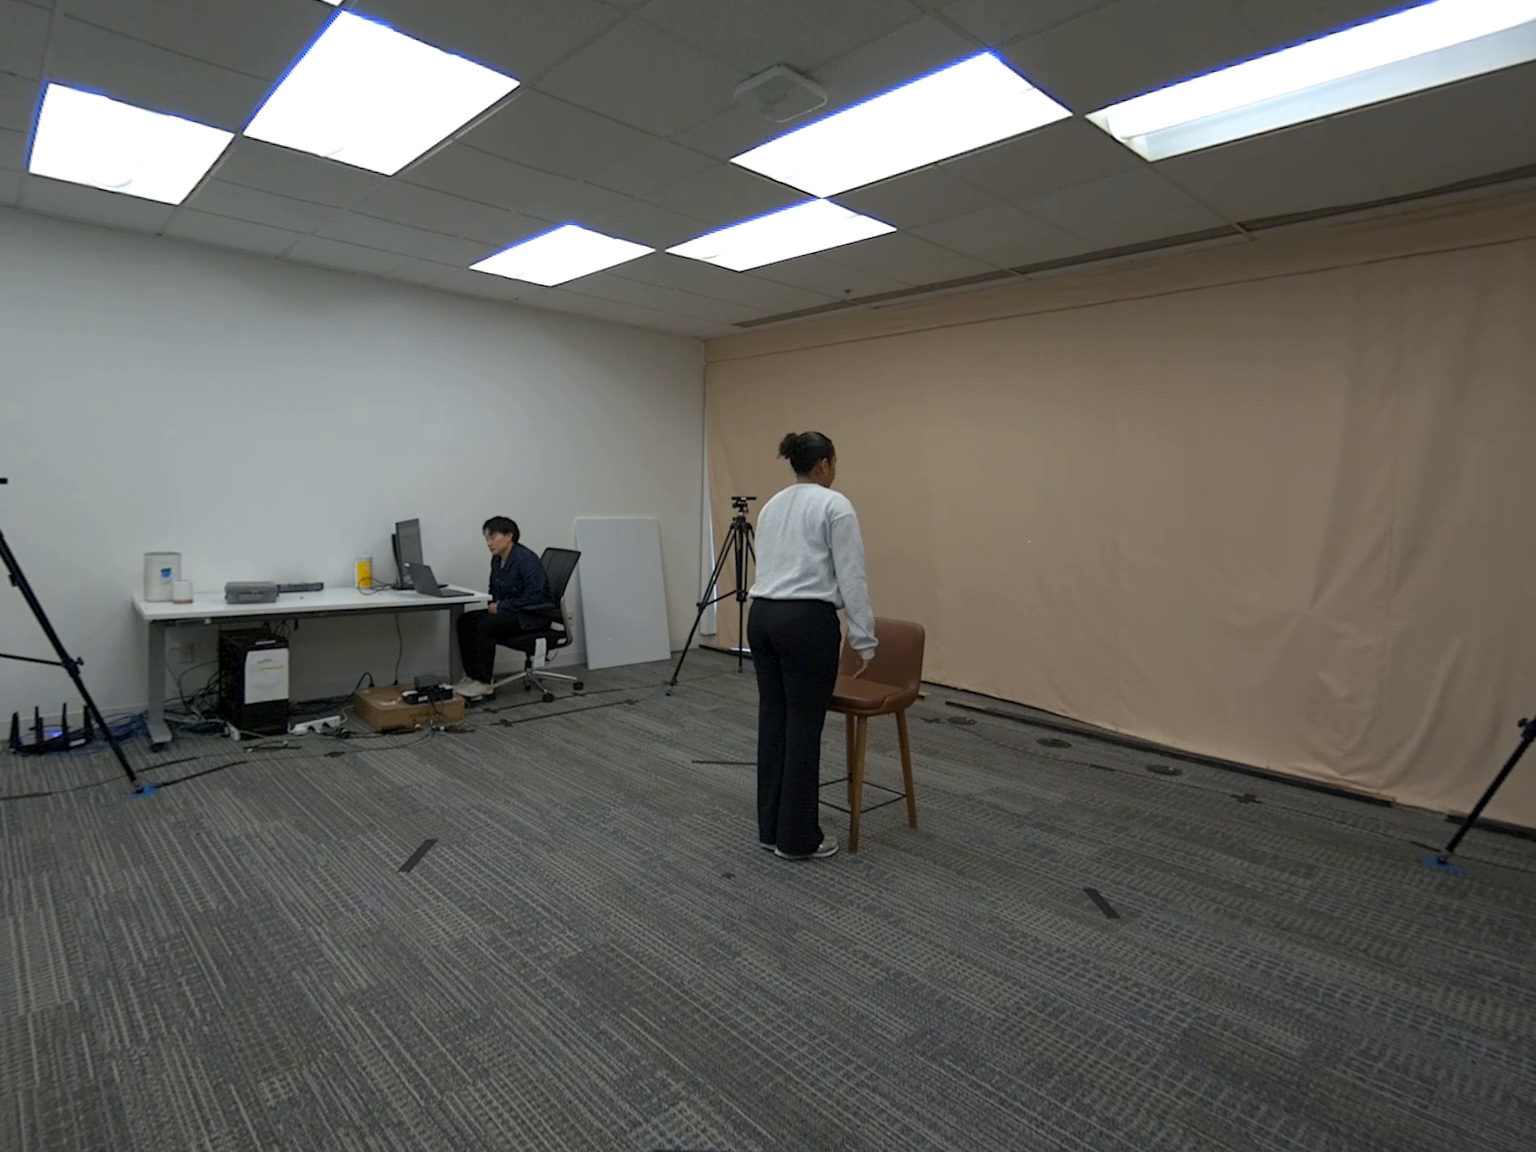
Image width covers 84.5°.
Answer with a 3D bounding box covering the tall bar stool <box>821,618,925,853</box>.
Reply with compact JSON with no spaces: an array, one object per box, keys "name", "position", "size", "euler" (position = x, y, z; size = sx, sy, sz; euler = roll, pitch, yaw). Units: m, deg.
[{"name":"tall bar stool","position":[0.360,0.633,3.597],"size":[0.456,0.889,0.468],"euler":[2,2,-43]}]
